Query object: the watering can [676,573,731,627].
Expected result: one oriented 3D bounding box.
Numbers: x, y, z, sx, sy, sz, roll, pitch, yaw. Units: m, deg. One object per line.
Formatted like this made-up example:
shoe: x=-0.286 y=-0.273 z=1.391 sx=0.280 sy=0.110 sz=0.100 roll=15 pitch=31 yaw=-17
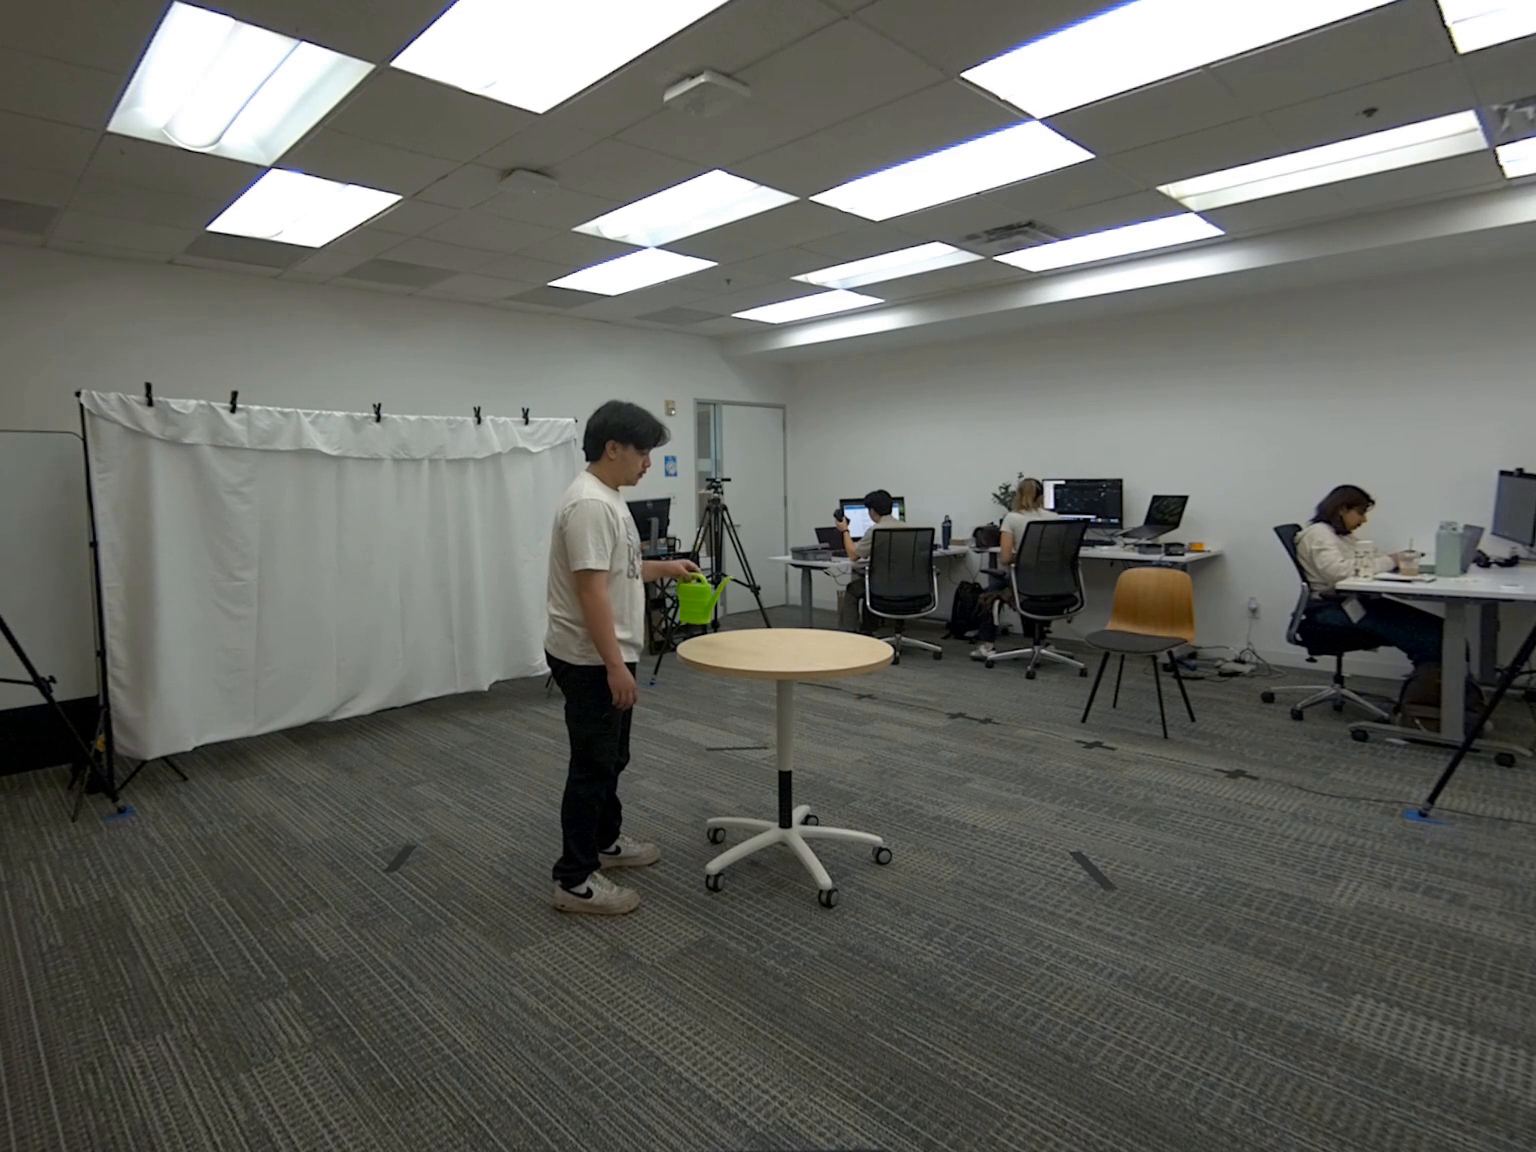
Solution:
watering can: x=-0.238 y=0.076 z=3.010 sx=0.095 sy=0.176 sz=0.286 roll=-1 pitch=3 yaw=-33
